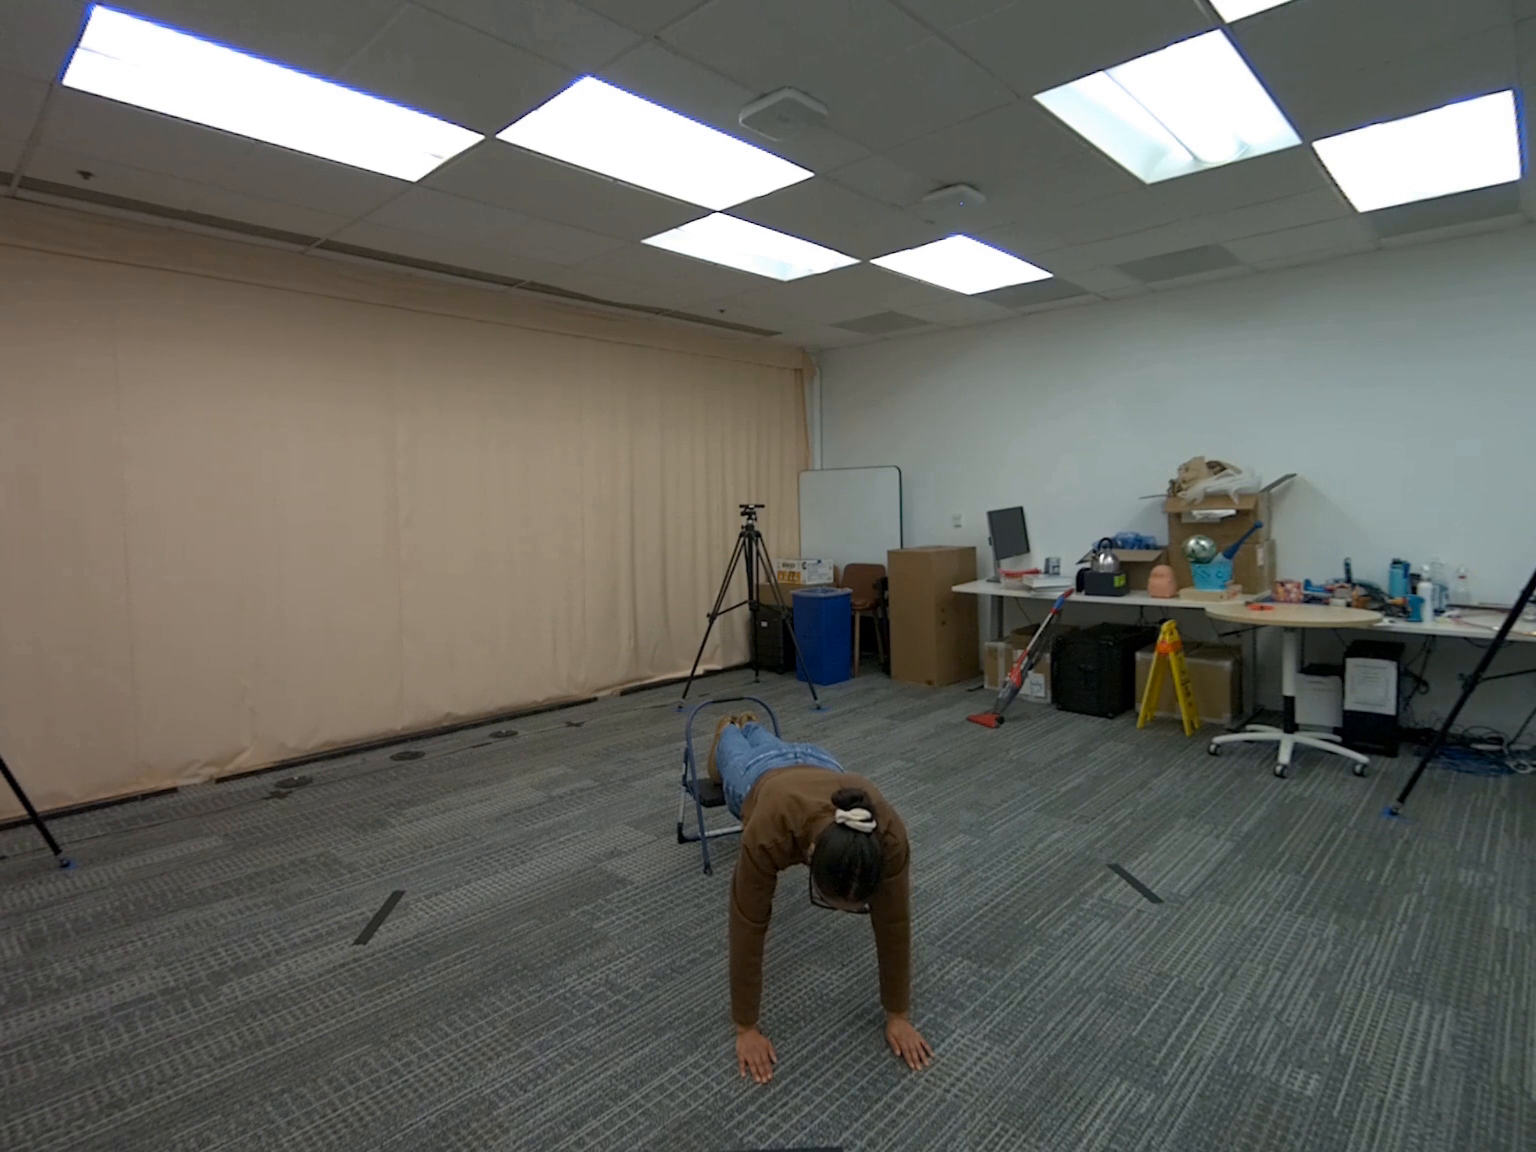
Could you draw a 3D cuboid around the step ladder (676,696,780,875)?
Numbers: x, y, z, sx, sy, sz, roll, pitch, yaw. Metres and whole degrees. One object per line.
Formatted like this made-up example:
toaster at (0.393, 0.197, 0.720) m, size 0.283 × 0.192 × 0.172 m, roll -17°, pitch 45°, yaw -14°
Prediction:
step ladder at (-0.123, 0.805, 3.399) m, size 0.421 × 0.605 × 0.358 m, roll -3°, pitch 4°, yaw -25°
